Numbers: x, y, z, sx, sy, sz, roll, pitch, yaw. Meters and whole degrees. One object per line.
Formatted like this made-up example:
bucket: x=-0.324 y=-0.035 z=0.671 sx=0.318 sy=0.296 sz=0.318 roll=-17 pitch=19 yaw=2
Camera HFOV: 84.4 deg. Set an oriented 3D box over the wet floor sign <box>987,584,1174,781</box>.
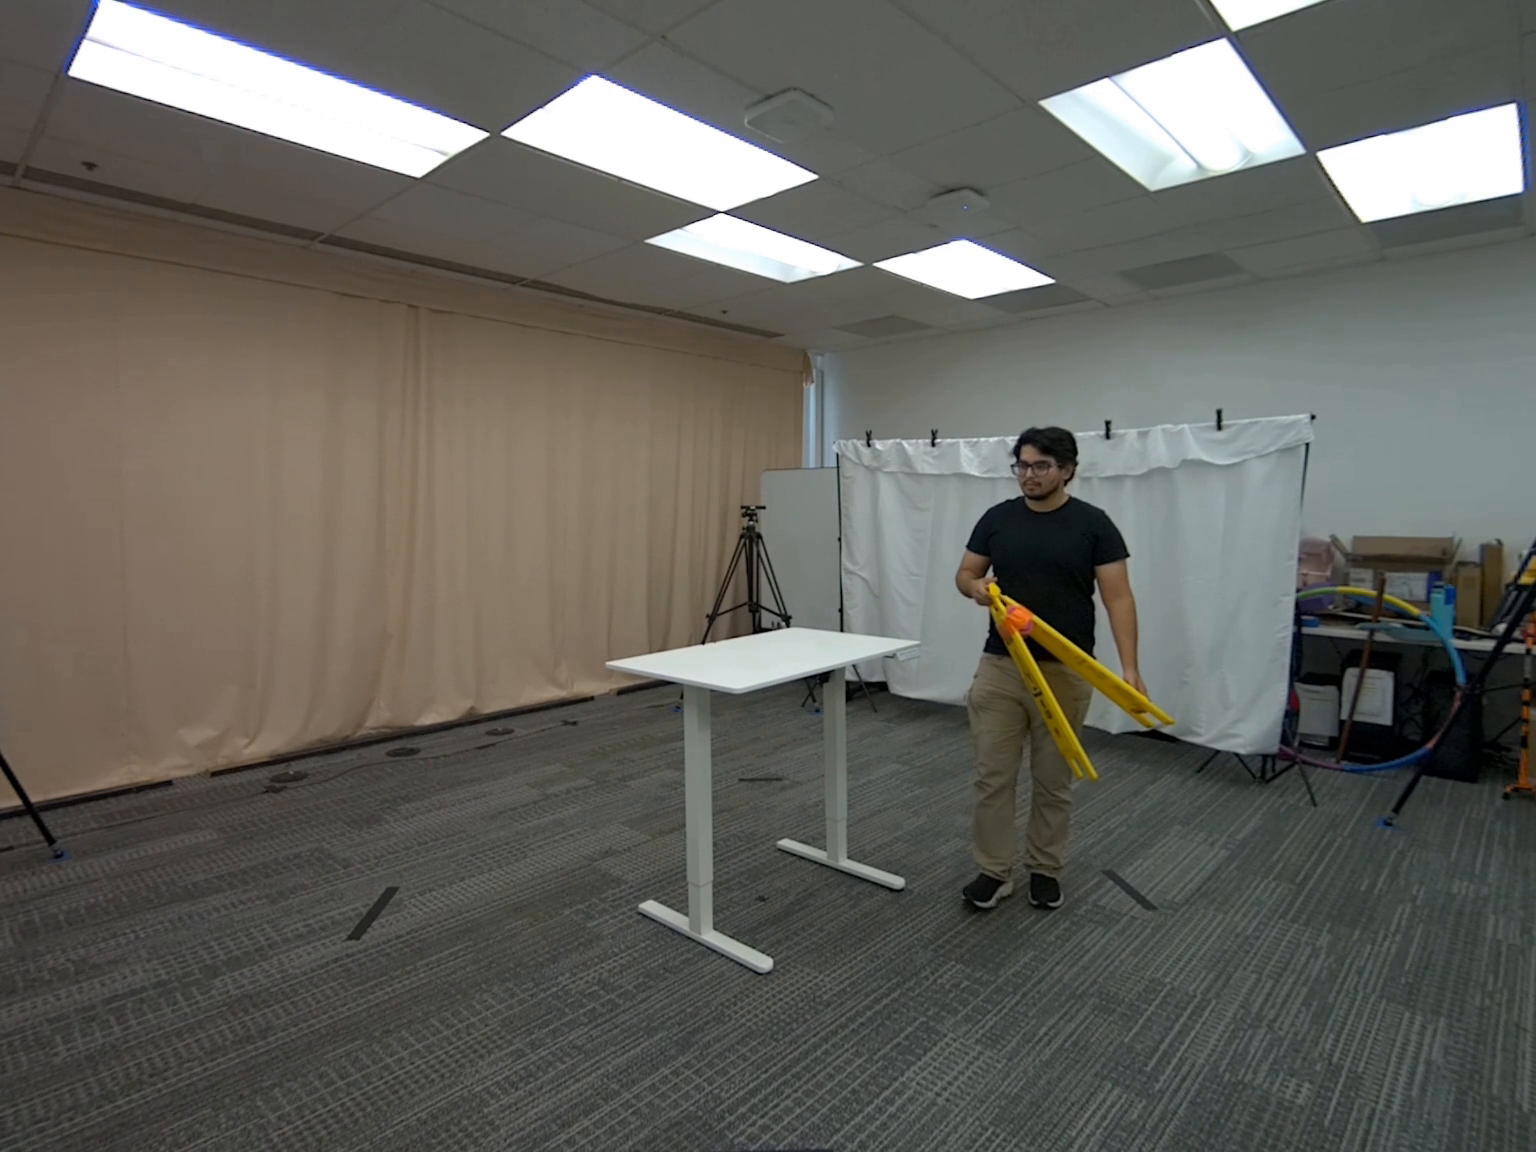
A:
wet floor sign: x=0.908 y=0.297 z=2.701 sx=0.290 sy=0.659 sz=0.276 roll=-38 pitch=-18 yaw=0
